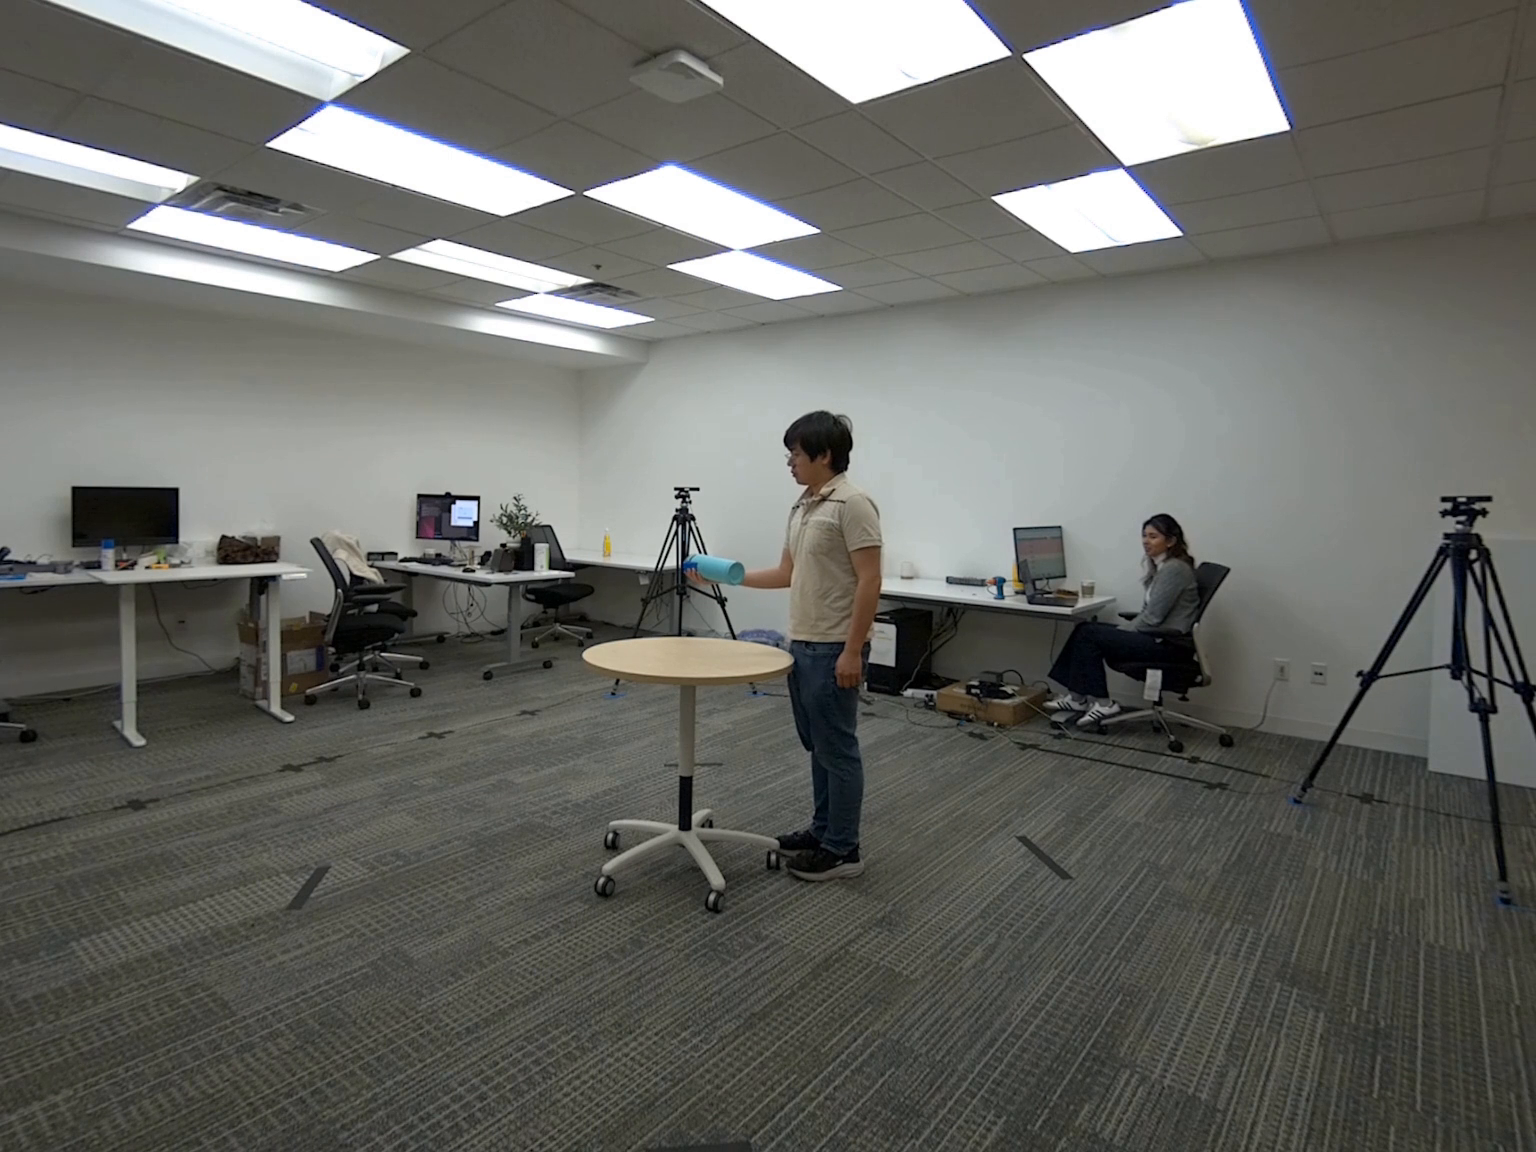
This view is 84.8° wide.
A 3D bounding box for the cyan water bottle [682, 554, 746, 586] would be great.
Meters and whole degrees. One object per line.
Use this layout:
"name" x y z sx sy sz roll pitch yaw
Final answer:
"cyan water bottle" -0.223 -0.033 3.199 0.089 0.092 0.294 -3 10 -44
